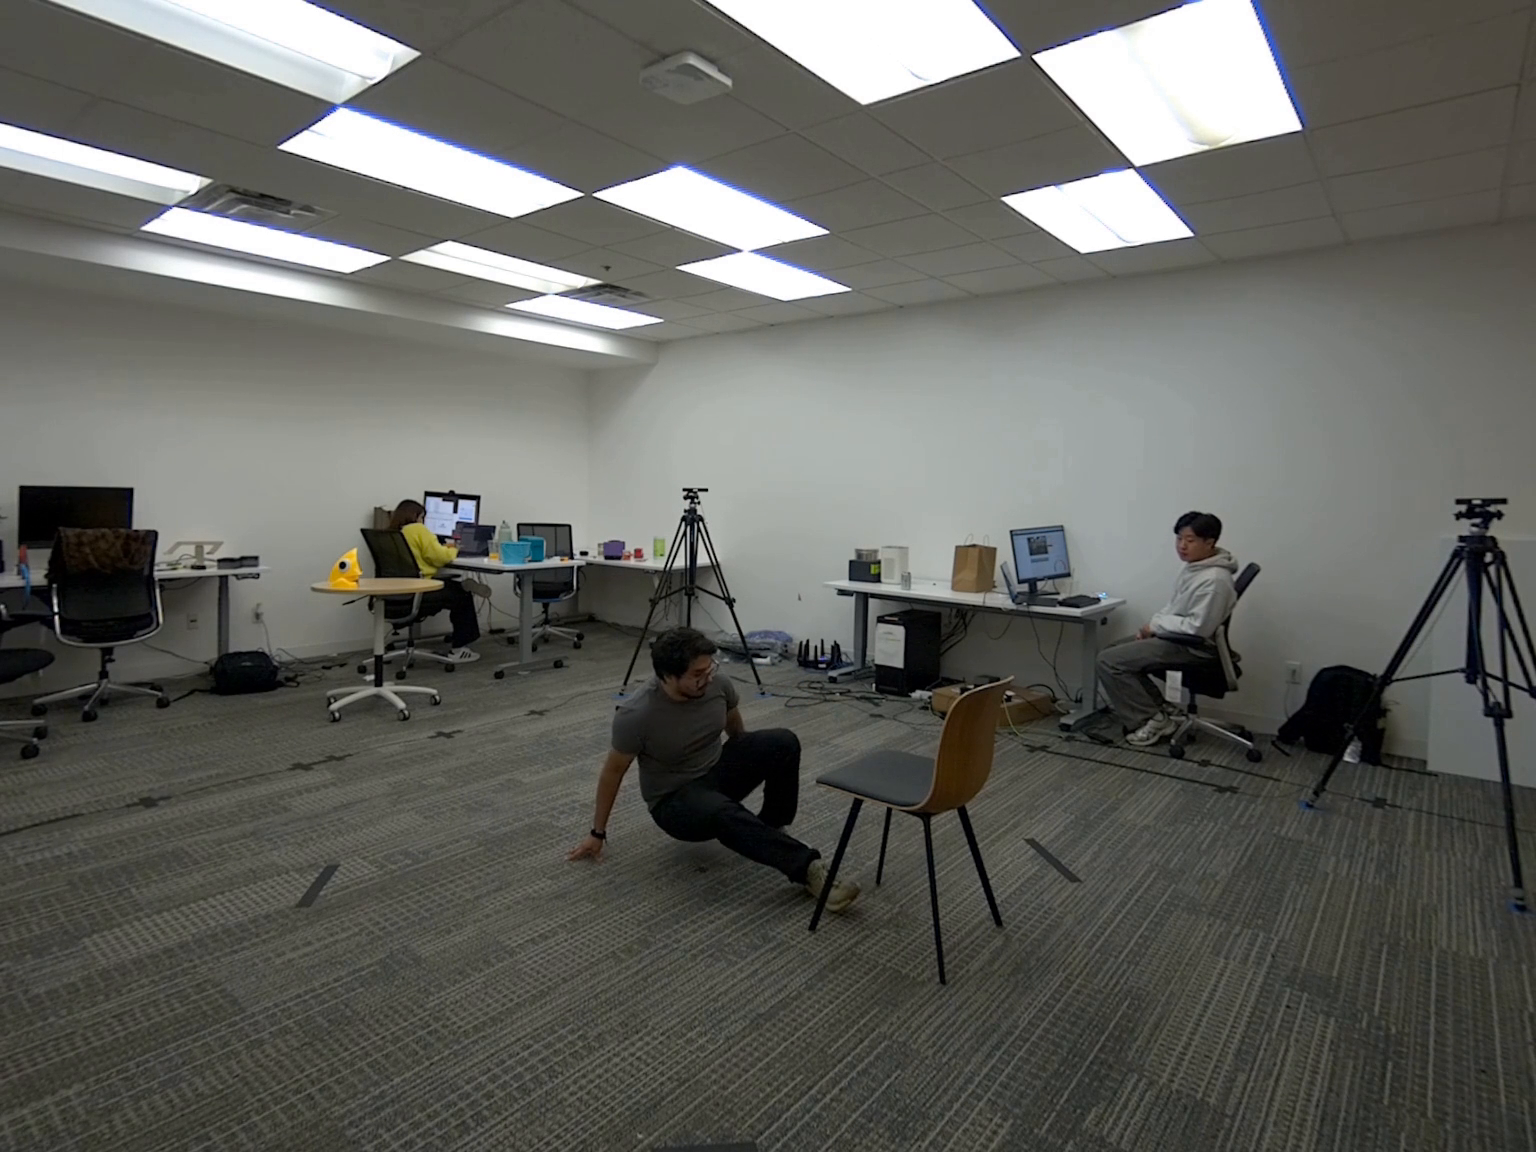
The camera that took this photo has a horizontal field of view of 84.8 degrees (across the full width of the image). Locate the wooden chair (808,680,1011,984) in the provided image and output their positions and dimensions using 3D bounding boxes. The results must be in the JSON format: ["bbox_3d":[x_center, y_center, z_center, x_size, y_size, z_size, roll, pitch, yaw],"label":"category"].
[{"bbox_3d":[0.443,0.697,2.698,0.542,0.873,0.464,9,7,37],"label":"wooden chair"}]
